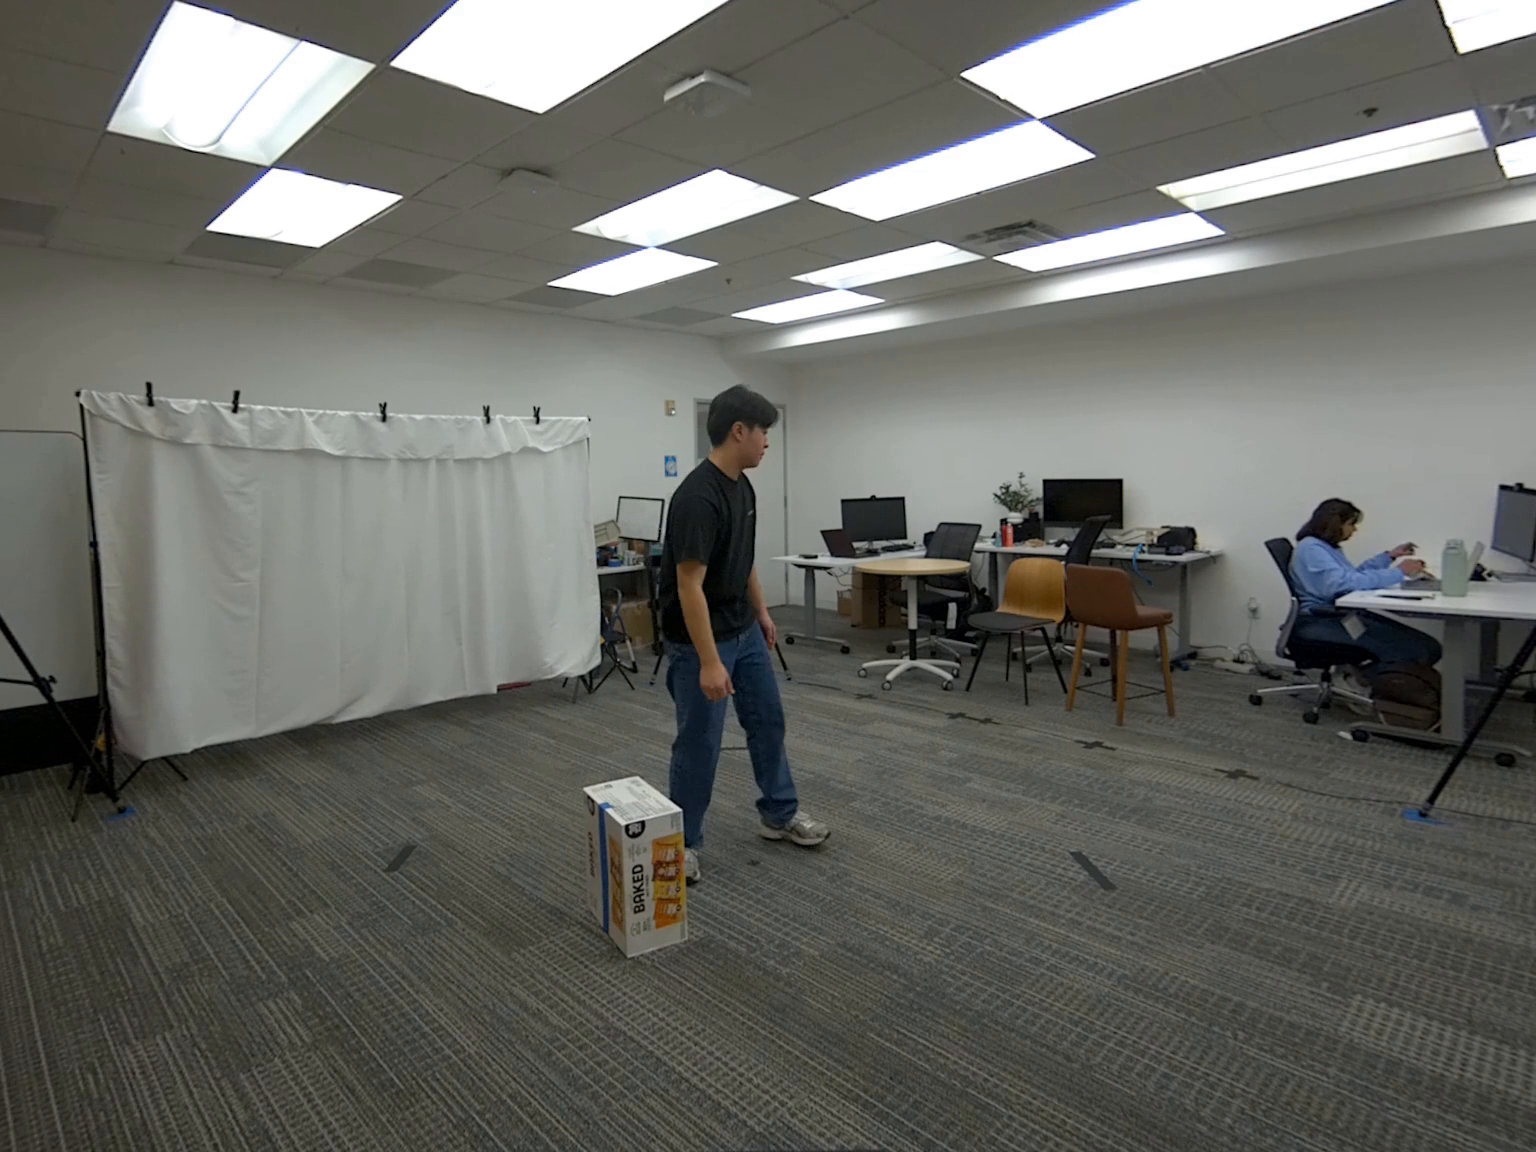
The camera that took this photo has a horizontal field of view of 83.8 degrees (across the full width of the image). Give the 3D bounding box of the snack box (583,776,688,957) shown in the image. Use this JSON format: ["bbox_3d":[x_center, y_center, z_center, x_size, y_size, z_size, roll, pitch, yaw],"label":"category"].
[{"bbox_3d":[-0.422,0.892,2.681,0.201,0.403,0.350,-4,5,-30],"label":"snack box"}]
